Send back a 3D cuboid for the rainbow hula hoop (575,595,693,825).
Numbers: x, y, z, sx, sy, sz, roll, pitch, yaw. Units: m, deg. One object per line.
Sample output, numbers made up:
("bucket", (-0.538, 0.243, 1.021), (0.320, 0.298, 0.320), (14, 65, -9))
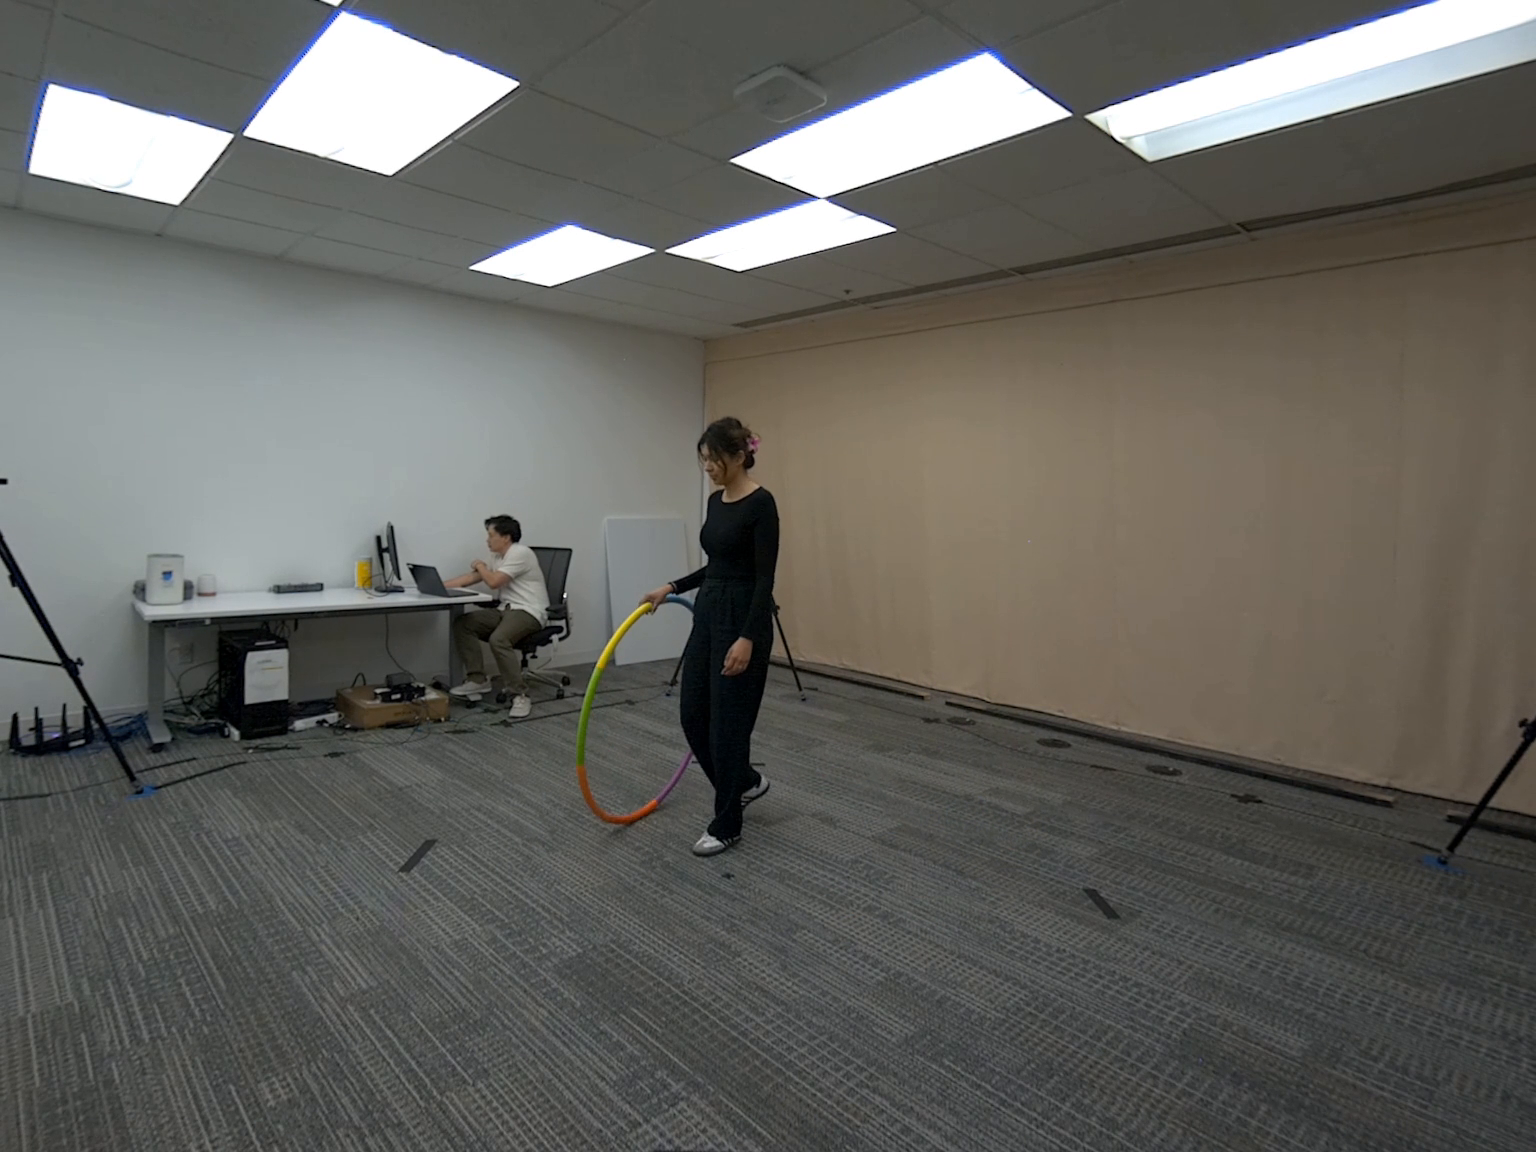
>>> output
("rainbow hula hoop", (-0.497, 0.567, 3.601), (0.036, 0.974, 0.961), (10, 7, 25))
